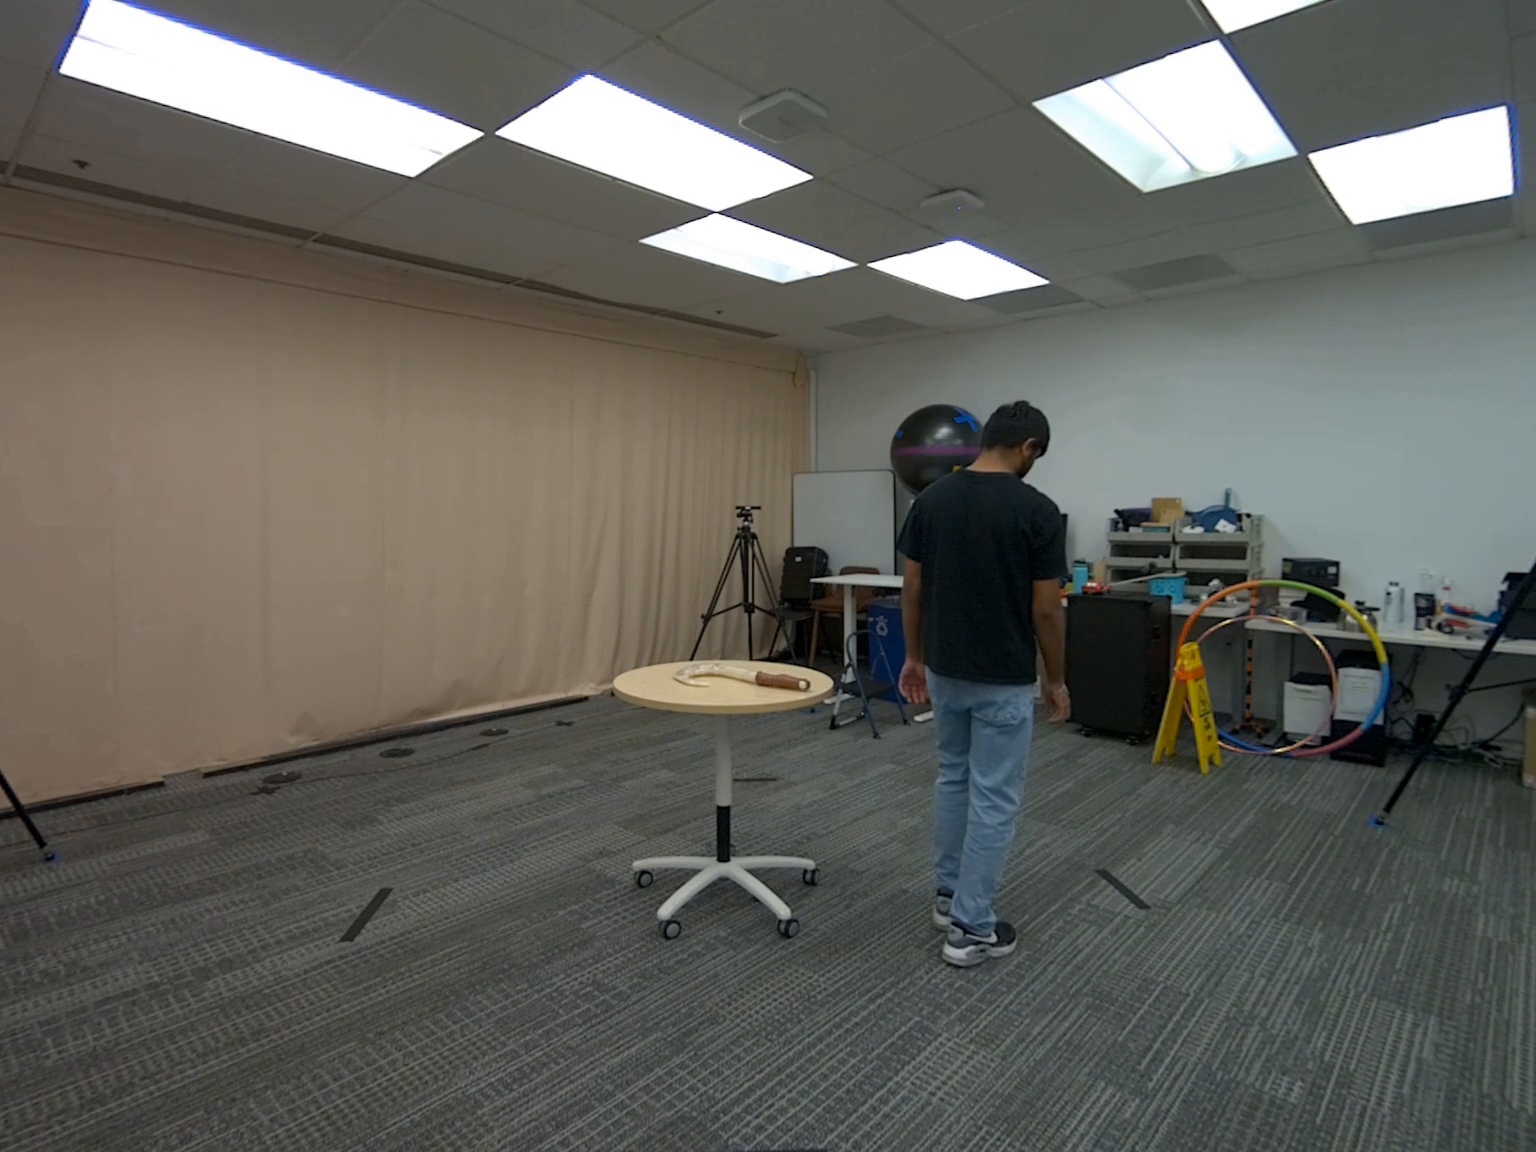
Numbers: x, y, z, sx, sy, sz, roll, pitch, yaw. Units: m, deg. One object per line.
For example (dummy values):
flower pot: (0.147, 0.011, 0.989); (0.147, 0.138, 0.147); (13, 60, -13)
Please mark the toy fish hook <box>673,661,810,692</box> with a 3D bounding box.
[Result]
toy fish hook: (-0.096, 0.360, 2.866); (0.523, 0.048, 0.219); (2, 12, 36)
